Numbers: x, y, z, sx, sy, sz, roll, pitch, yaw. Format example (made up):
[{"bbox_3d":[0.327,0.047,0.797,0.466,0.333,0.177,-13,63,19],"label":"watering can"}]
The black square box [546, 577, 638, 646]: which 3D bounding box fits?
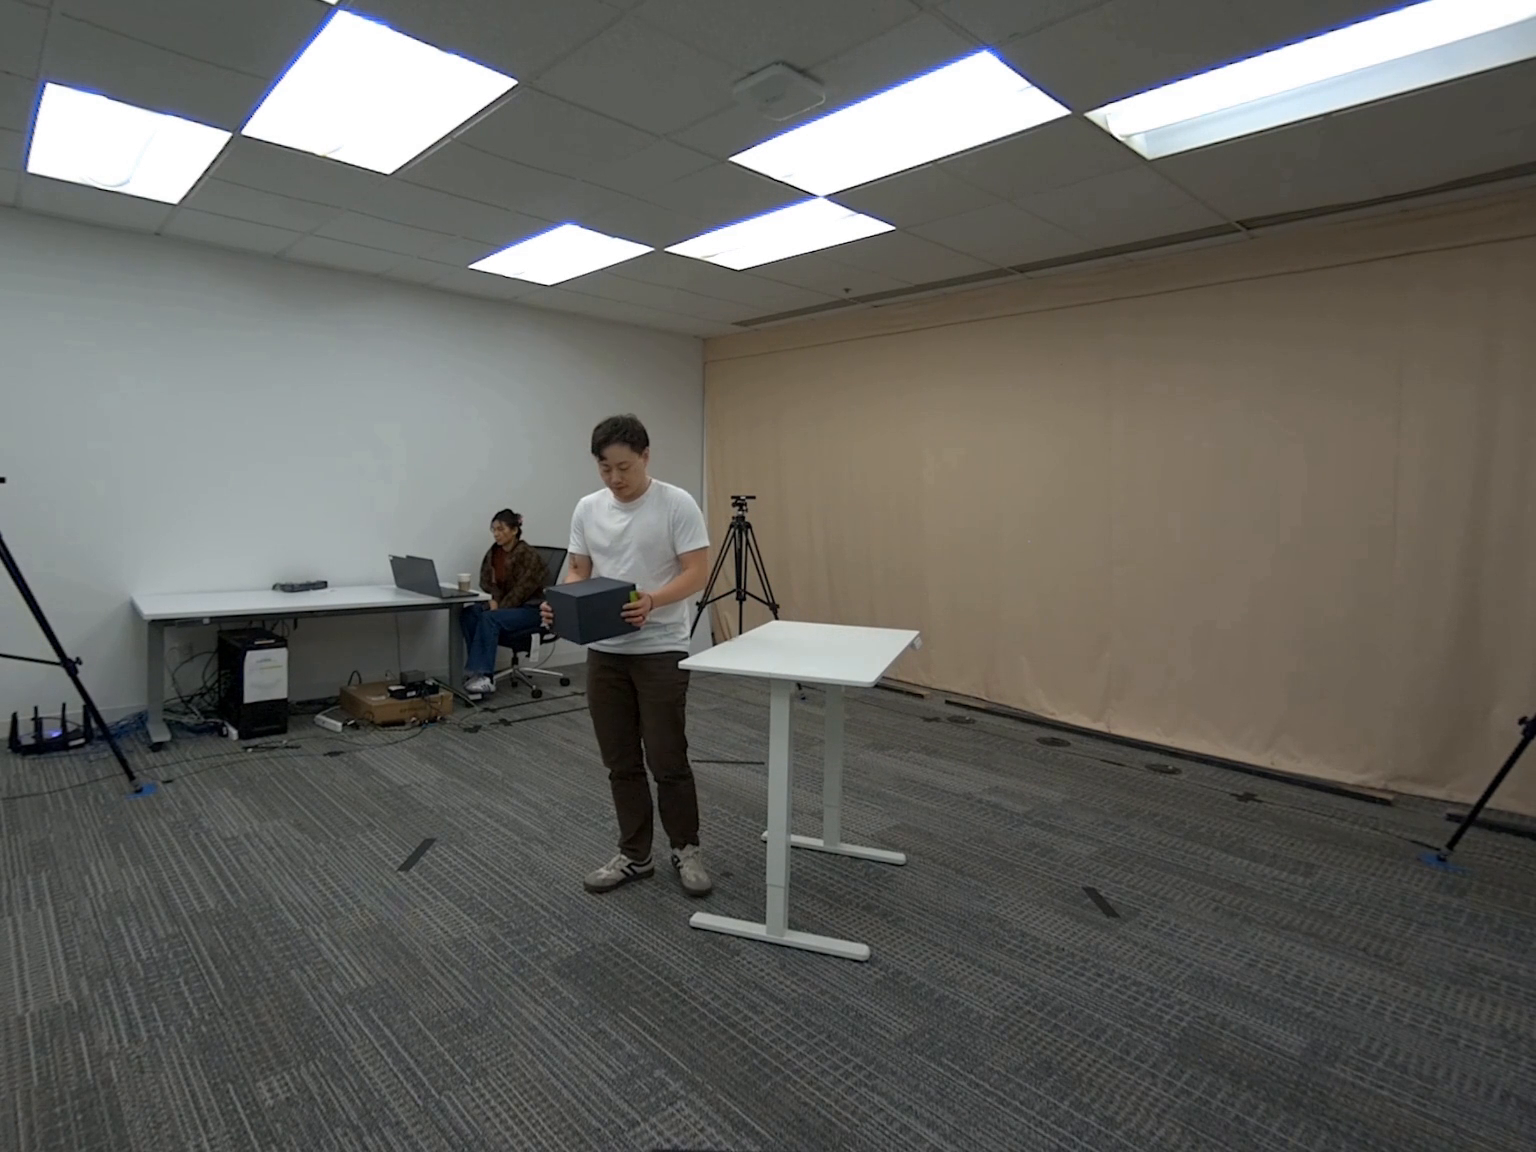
[{"bbox_3d":[-0.579,0.107,2.718,0.213,0.155,0.233,-13,12,-36],"label":"black square box"}]
